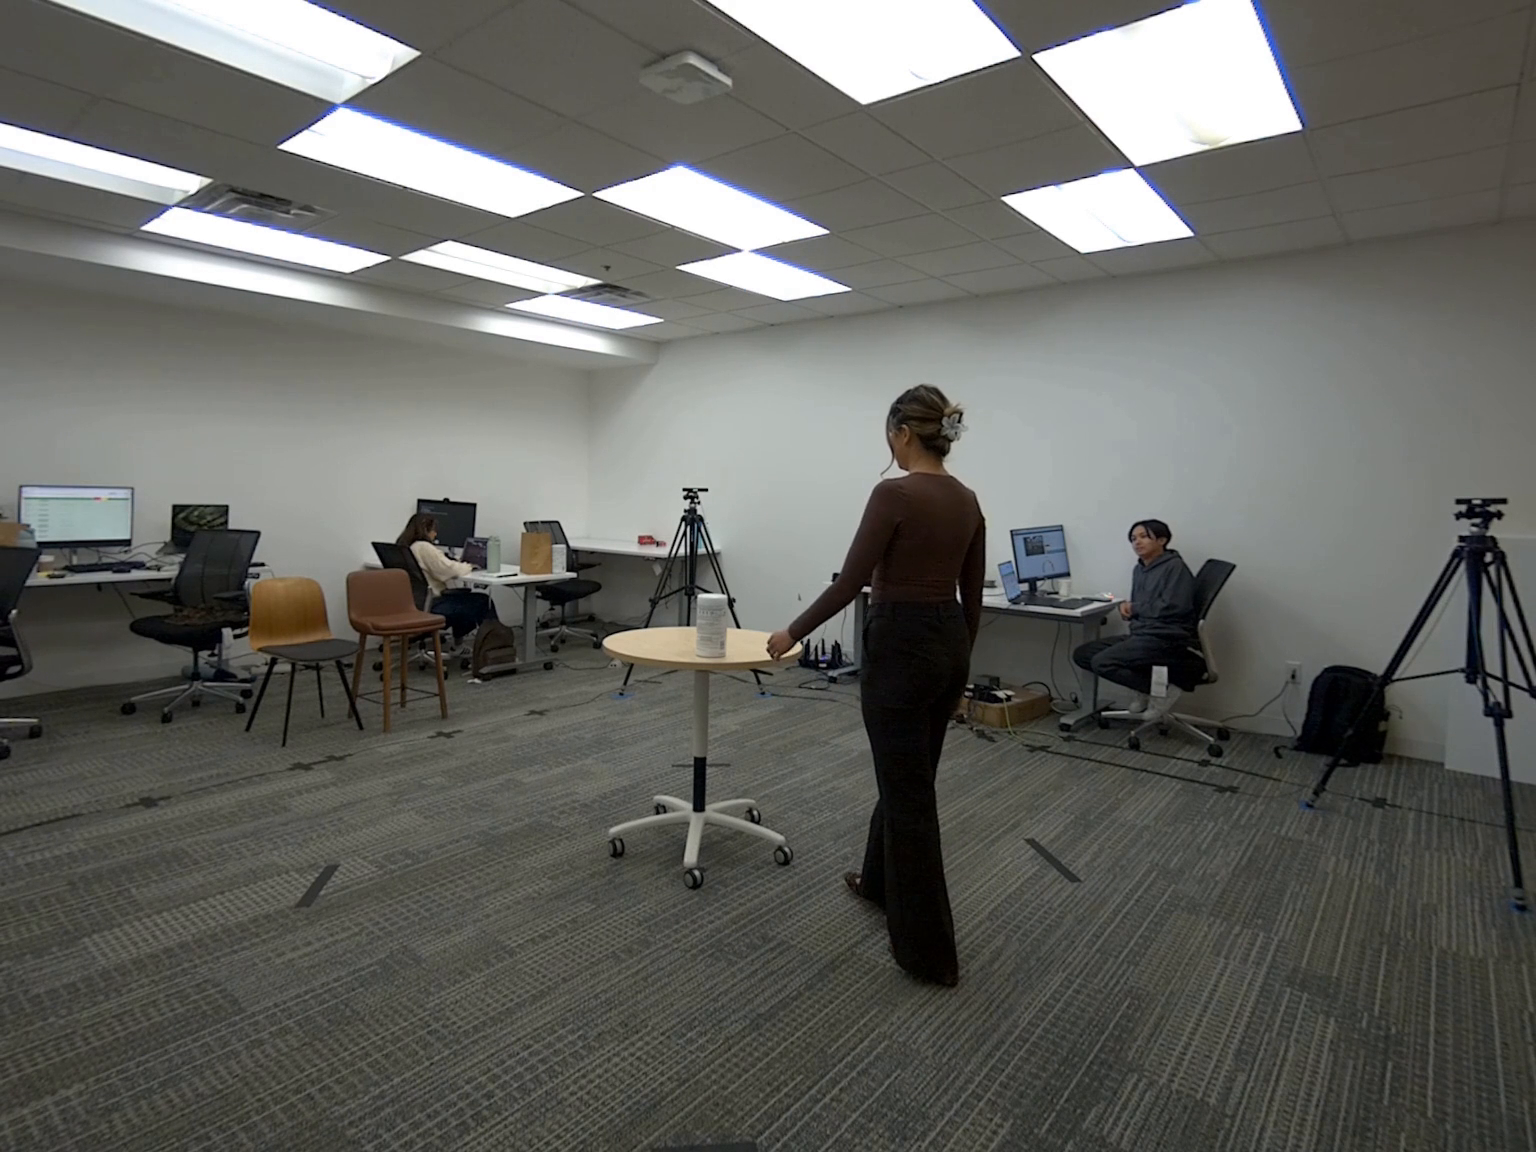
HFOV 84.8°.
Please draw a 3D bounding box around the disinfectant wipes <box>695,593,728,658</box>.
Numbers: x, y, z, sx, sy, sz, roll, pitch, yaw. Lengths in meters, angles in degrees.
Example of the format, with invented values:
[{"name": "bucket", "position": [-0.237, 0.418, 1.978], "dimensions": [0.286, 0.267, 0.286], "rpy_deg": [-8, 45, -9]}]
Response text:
[{"name": "disinfectant wipes", "position": [-0.216, 0.175, 3.024], "dimensions": [0.118, 0.217, 0.118], "rpy_deg": [1, 3, -2]}]
